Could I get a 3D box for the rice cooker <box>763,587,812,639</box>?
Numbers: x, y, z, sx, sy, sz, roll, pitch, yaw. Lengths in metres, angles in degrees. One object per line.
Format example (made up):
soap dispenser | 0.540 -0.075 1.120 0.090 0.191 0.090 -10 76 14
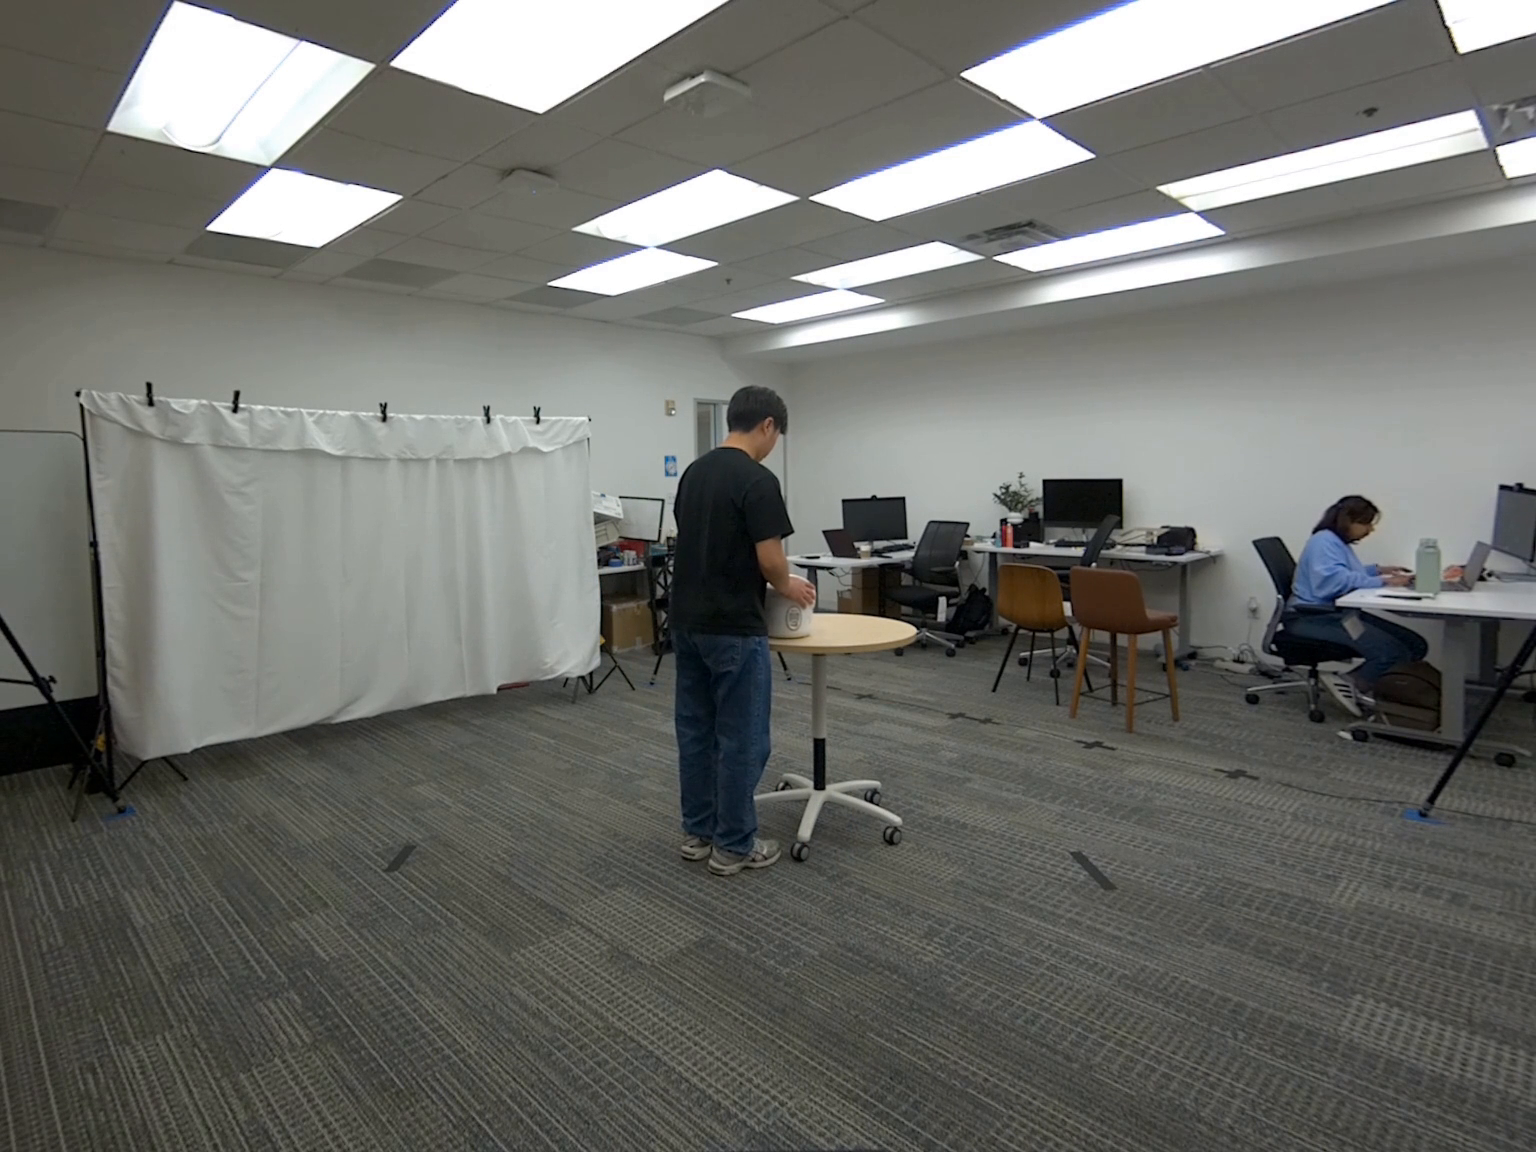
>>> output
rice cooker | 0.076 0.109 3.253 0.218 0.232 0.220 -3 4 -12
